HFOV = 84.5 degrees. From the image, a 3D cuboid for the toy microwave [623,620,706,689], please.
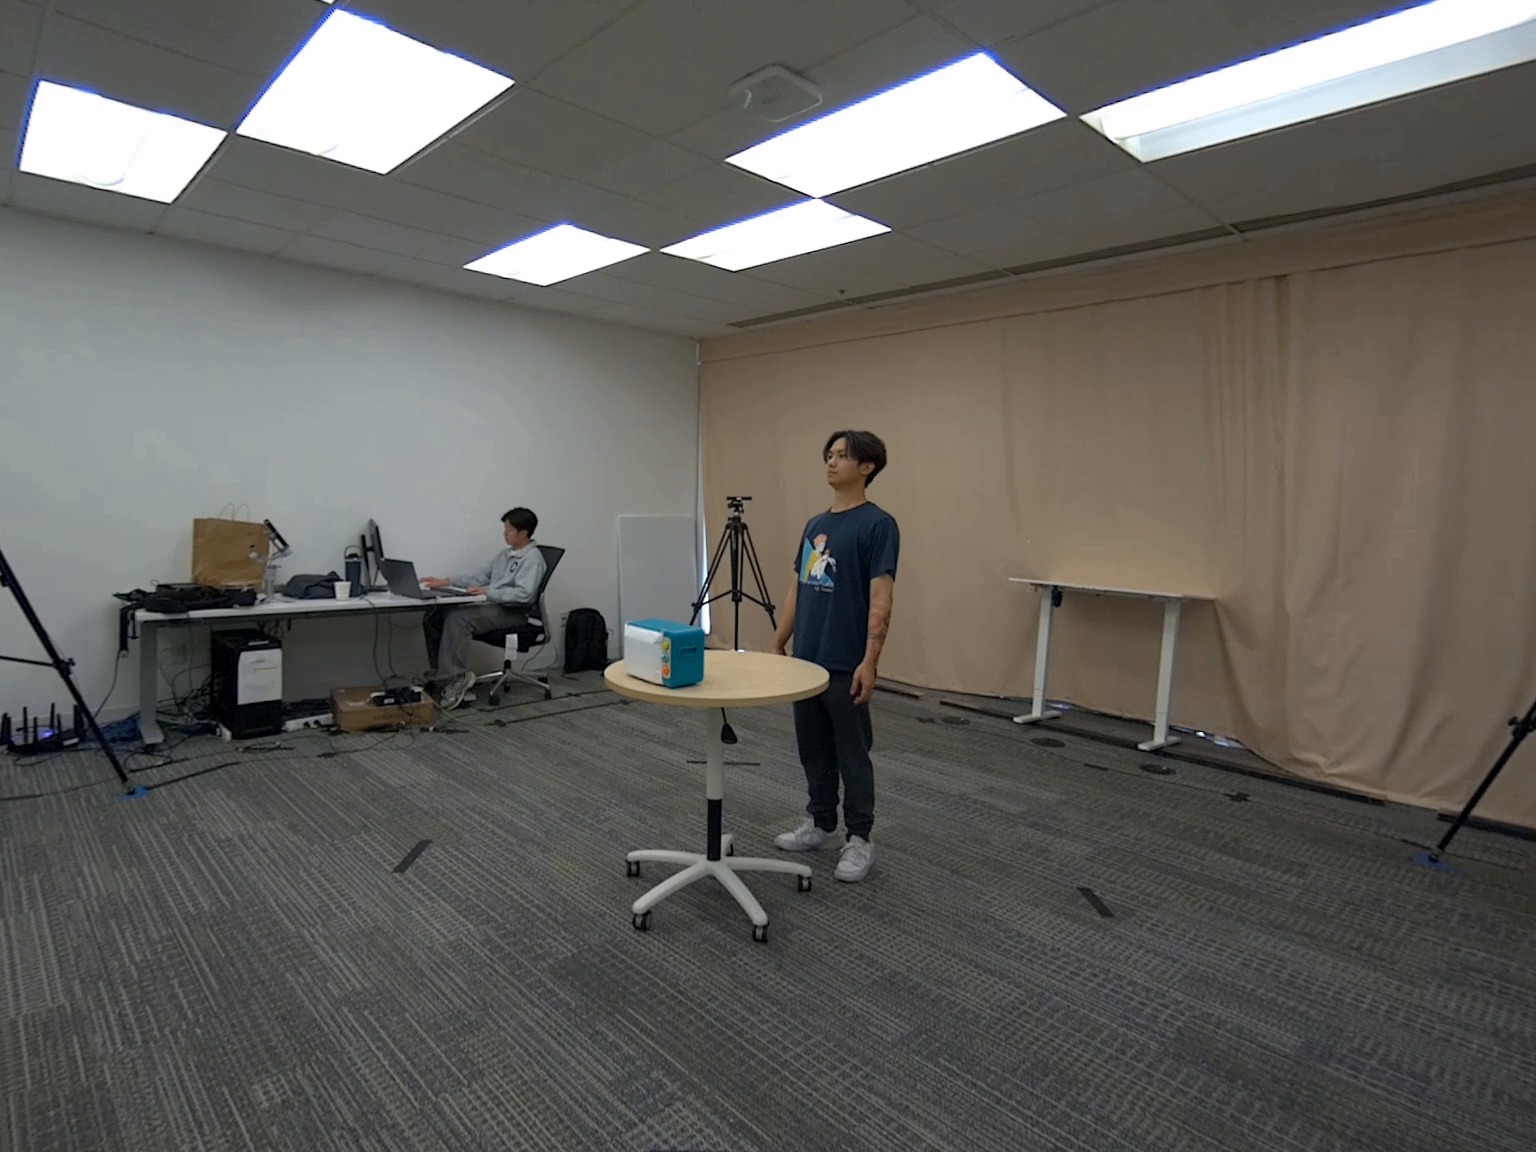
[{"bbox_3d":[-0.353,0.250,2.719,0.149,0.183,0.293,-2,6,-41],"label":"toy microwave"}]
